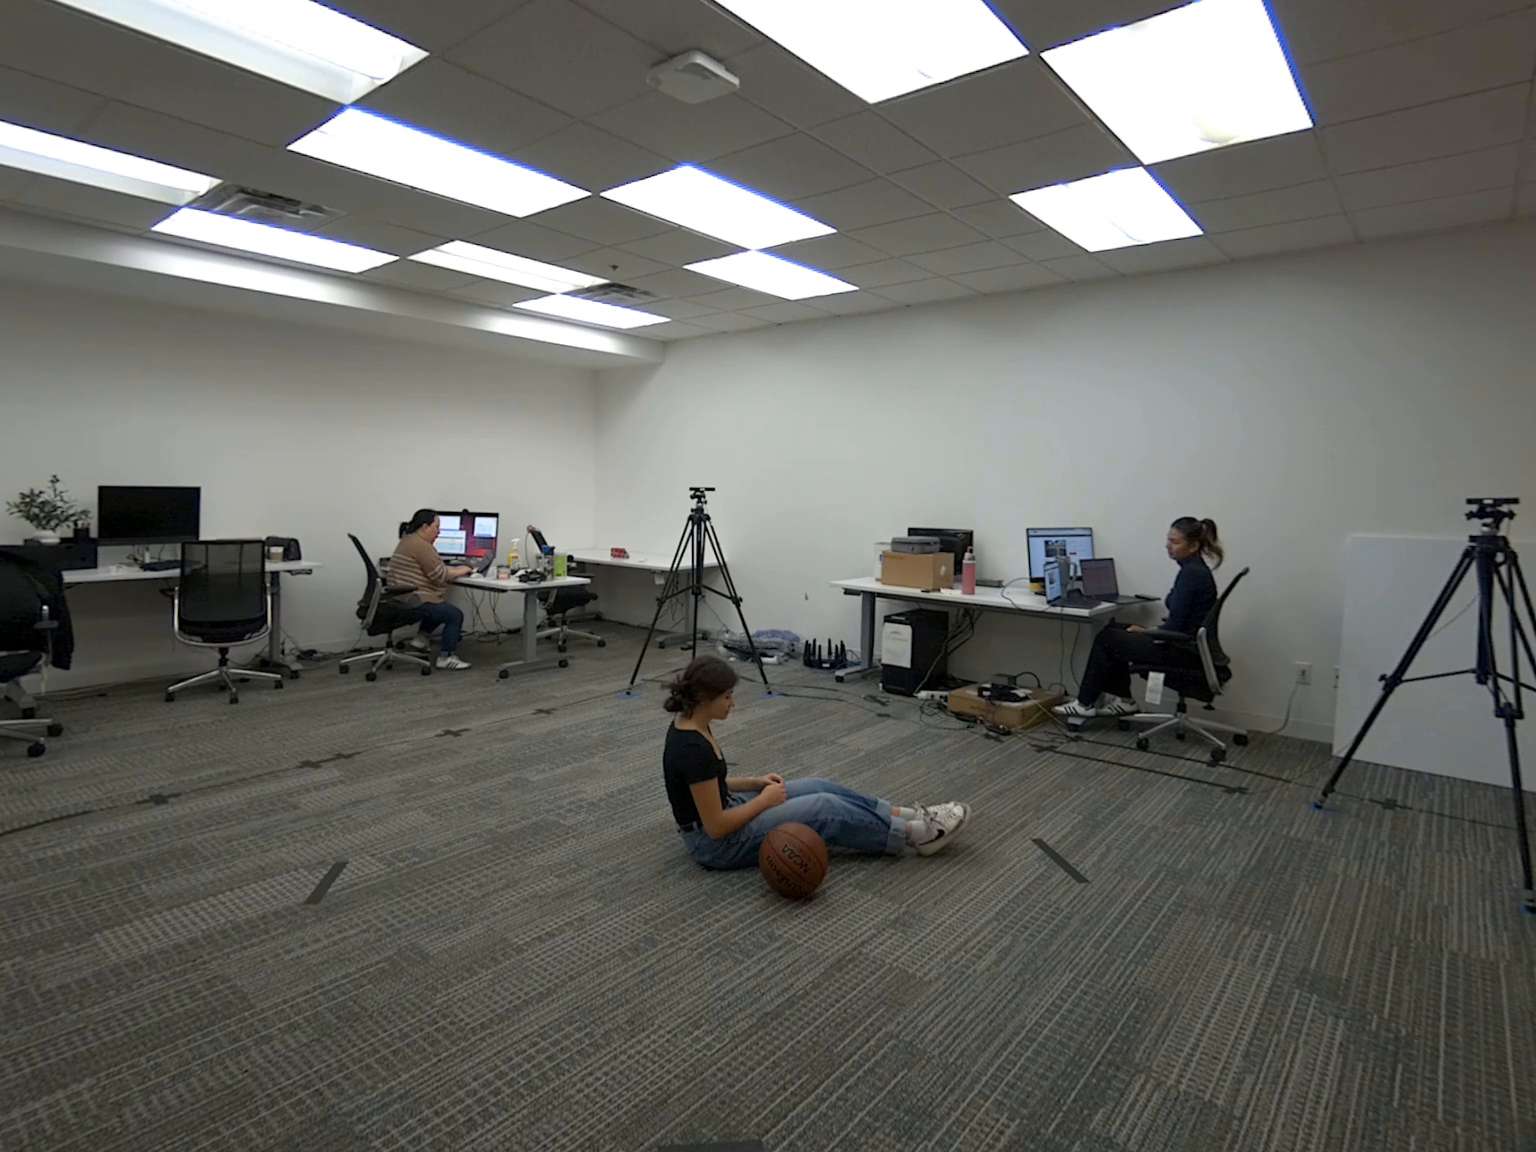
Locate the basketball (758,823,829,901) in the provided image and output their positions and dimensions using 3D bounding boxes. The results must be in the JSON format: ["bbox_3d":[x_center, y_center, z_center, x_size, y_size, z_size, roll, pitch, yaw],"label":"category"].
[{"bbox_3d":[0.082,0.967,2.927,0.235,0.235,0.237,1,4,-2],"label":"basketball"}]
